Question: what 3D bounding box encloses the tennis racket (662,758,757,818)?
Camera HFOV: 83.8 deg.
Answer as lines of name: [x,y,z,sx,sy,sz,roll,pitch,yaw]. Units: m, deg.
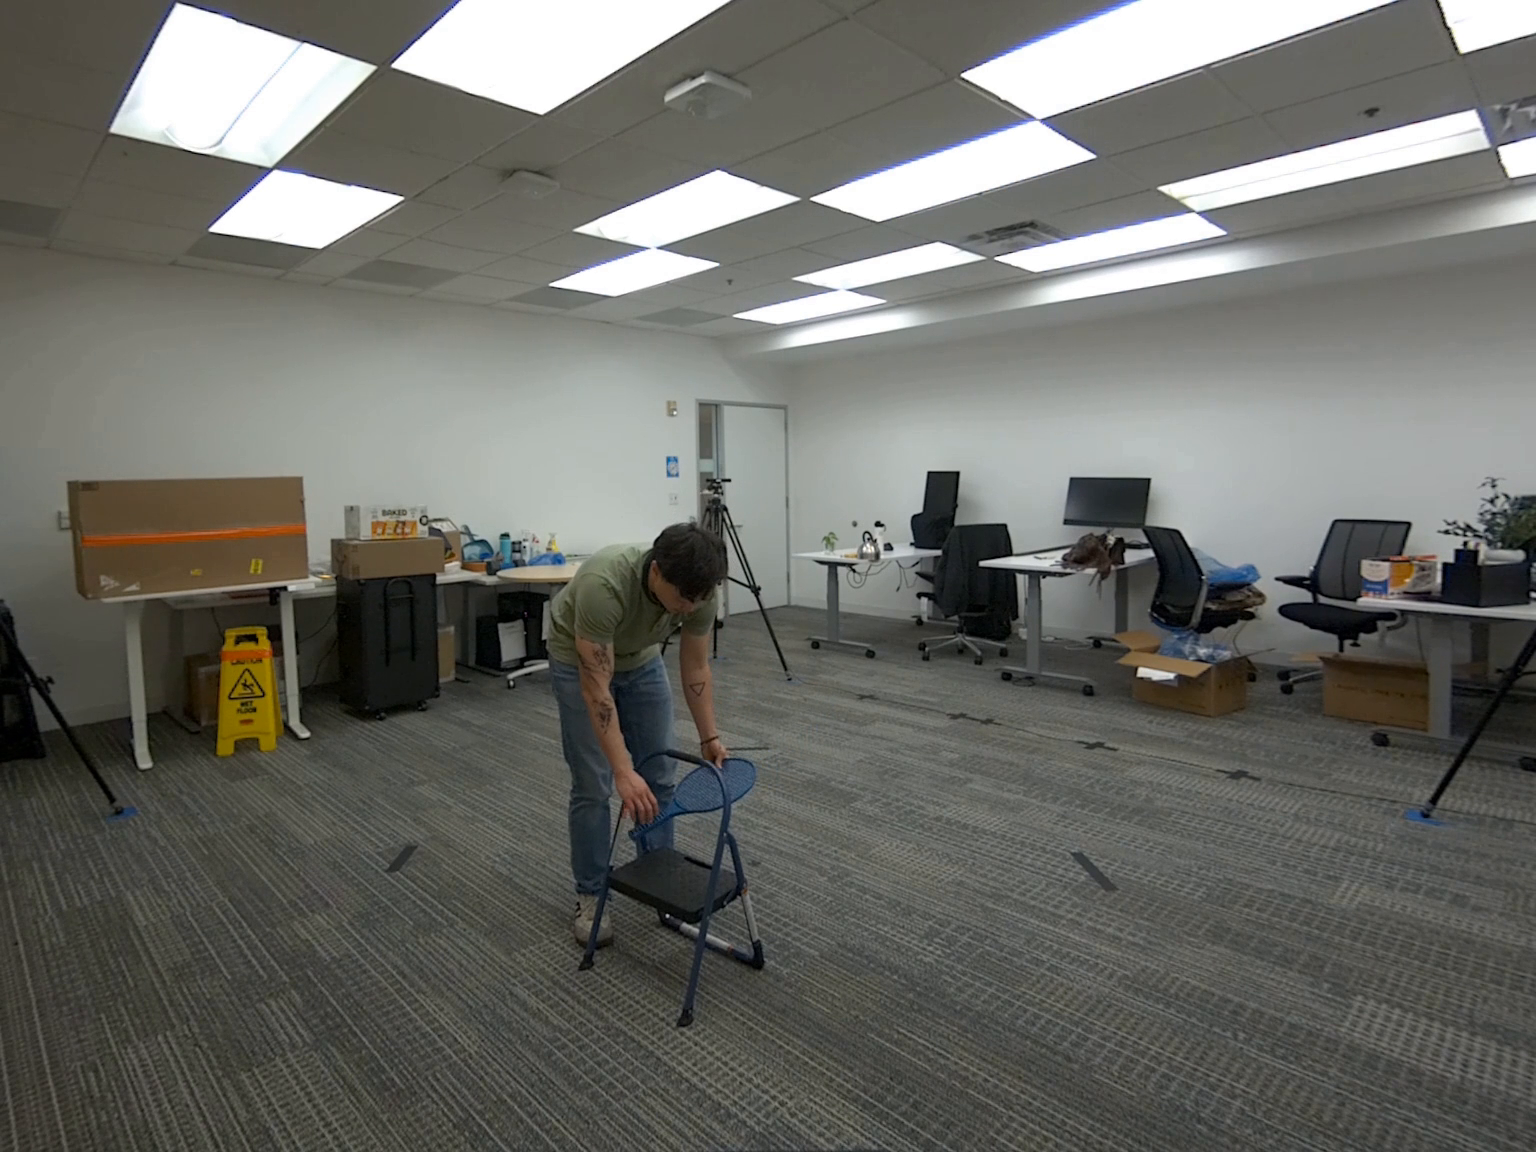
tennis racket: [-0.230,0.666,2.495,0.428,0.031,0.221,-25,25,-25]
